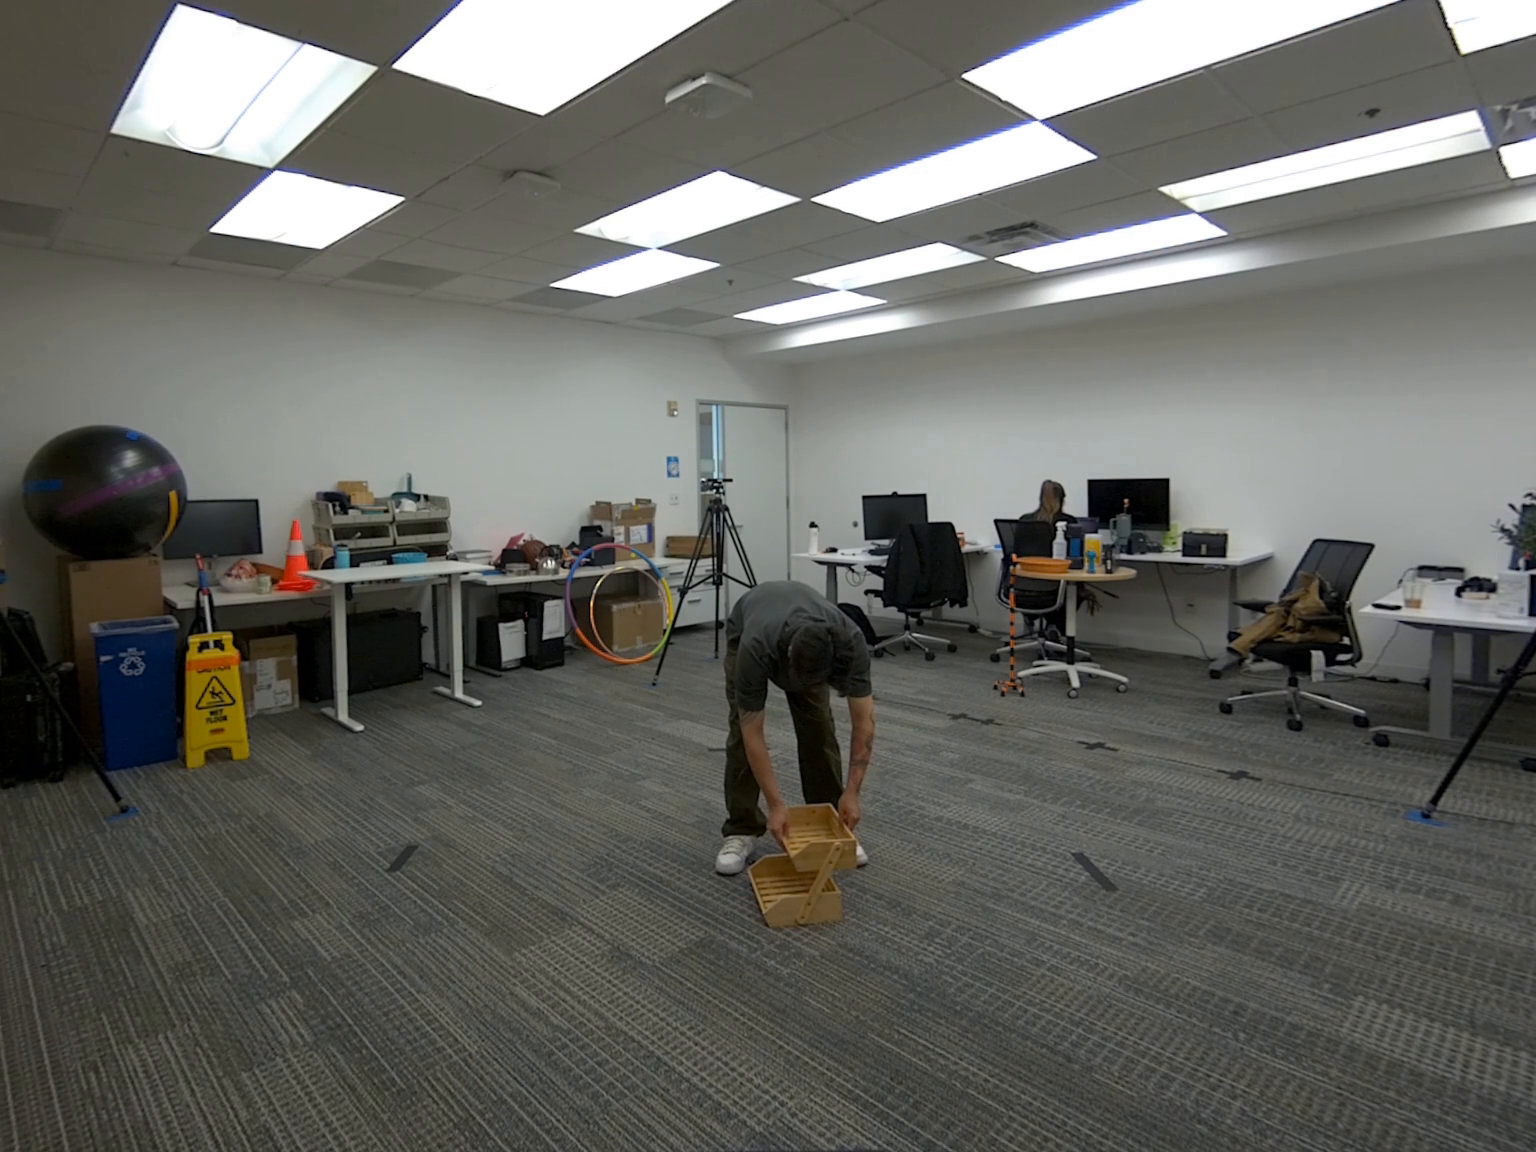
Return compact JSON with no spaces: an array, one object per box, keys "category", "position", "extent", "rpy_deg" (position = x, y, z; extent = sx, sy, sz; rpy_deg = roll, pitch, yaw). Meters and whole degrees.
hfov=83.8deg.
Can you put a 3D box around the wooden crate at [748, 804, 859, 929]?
[{"category":"wooden crate","position":[0.102,0.943,2.813],"extent":[0.299,0.272,0.329],"rpy_deg":[-1,5,-11]}]
